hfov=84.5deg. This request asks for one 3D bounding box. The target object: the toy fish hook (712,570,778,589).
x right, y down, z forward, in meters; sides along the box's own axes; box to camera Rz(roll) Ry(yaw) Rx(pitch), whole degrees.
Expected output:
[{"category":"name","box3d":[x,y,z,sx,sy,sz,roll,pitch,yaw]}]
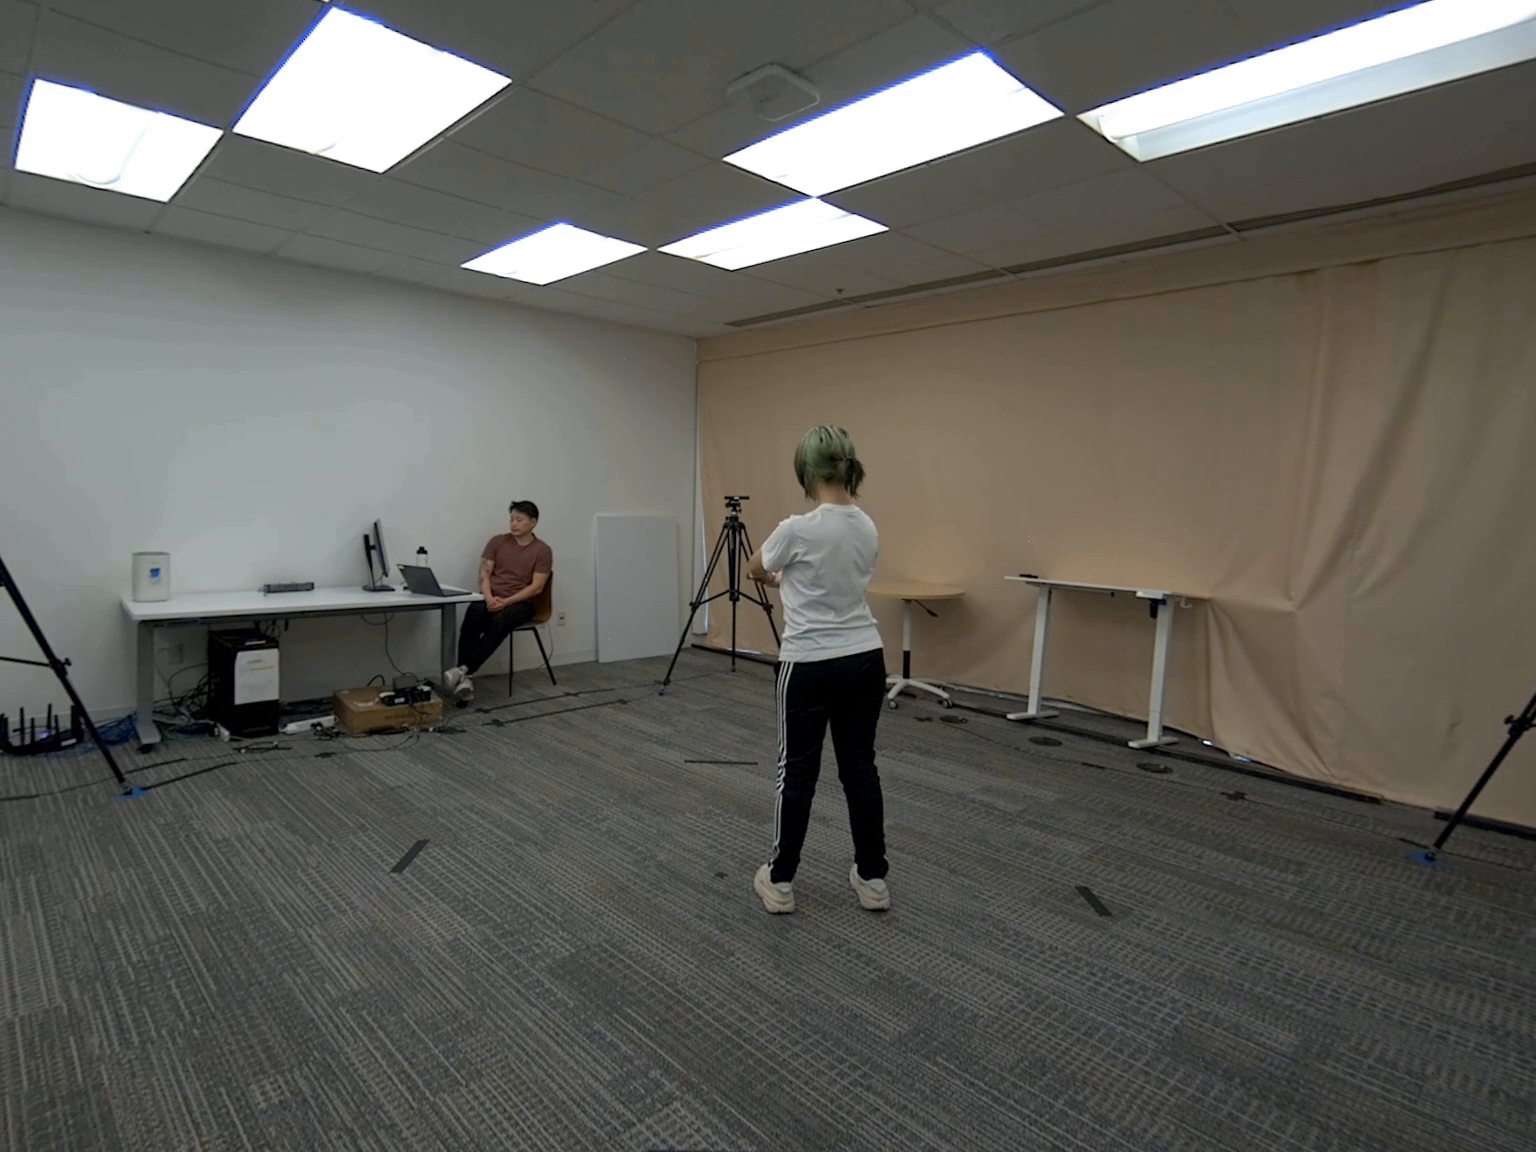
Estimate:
[{"category":"toy fish hook","box3d":[0.028,0.012,3.440,0.229,0.048,0.494,-8,-6,39]}]
